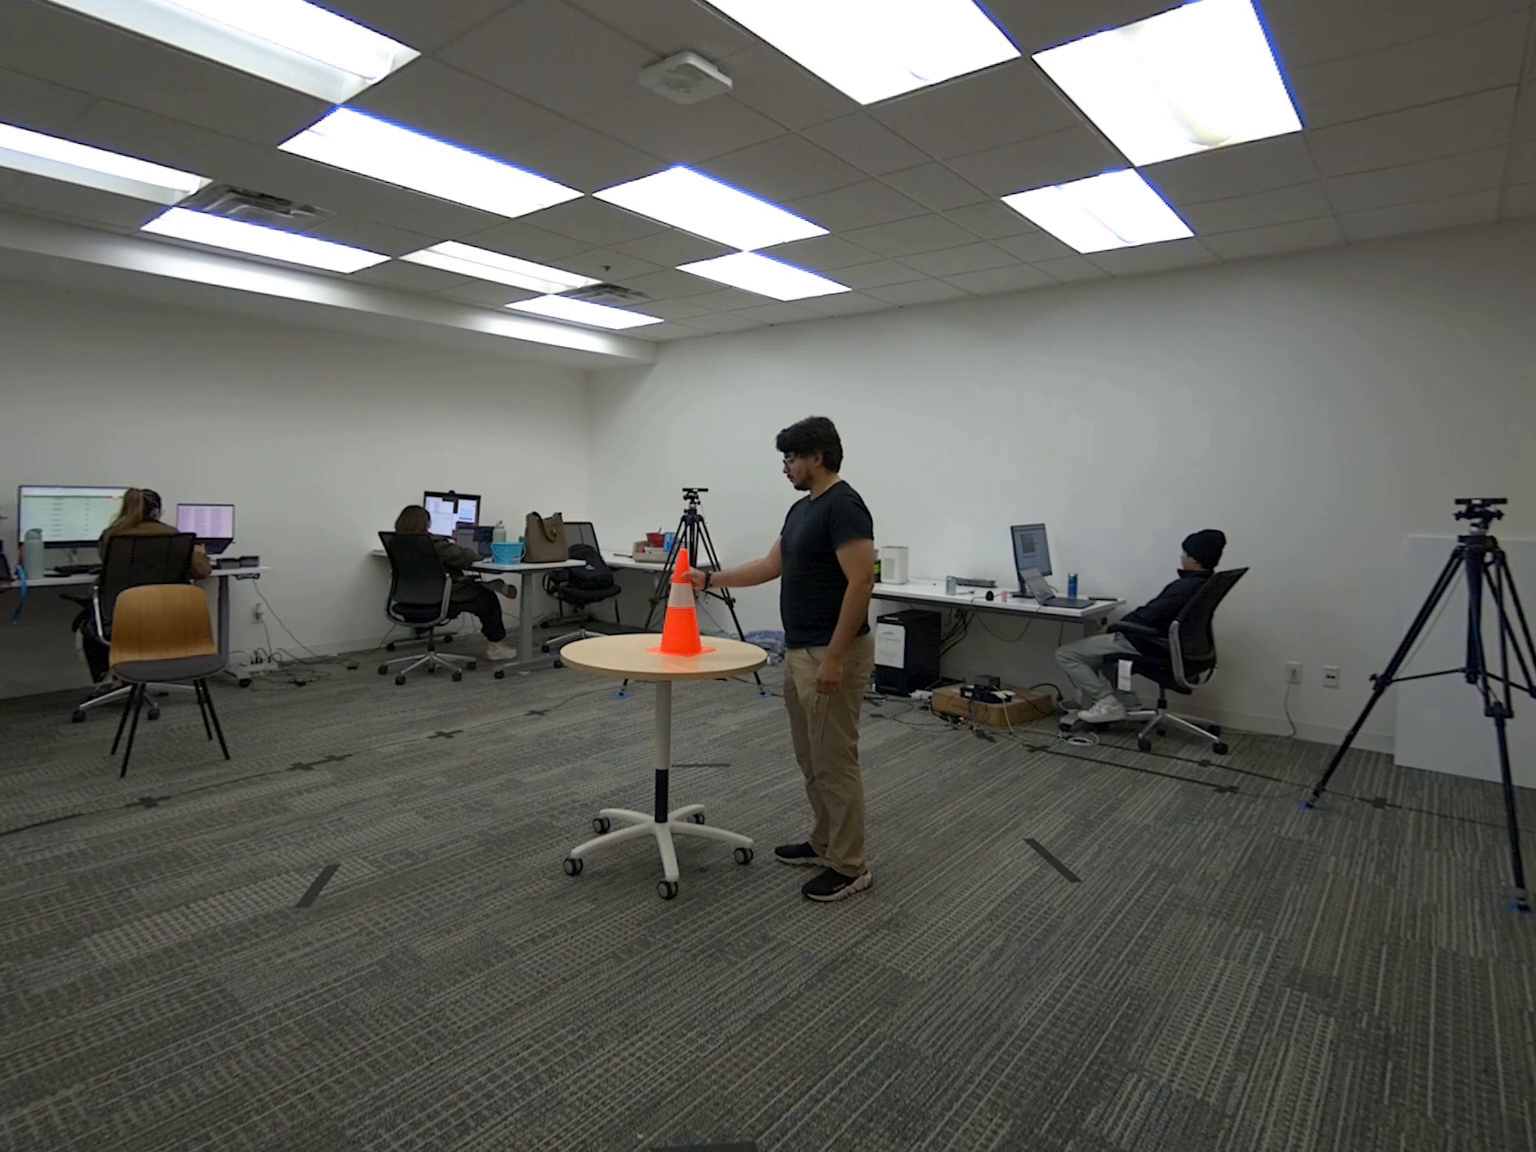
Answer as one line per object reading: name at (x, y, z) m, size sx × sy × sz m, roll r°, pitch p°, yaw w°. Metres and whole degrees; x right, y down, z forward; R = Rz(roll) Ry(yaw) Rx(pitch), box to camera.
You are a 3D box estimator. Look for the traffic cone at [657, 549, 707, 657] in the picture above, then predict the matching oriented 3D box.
traffic cone at (-0.336, 0.090, 3.189) m, size 0.211 × 0.382 × 0.198 m, roll 2°, pitch 4°, yaw 28°
